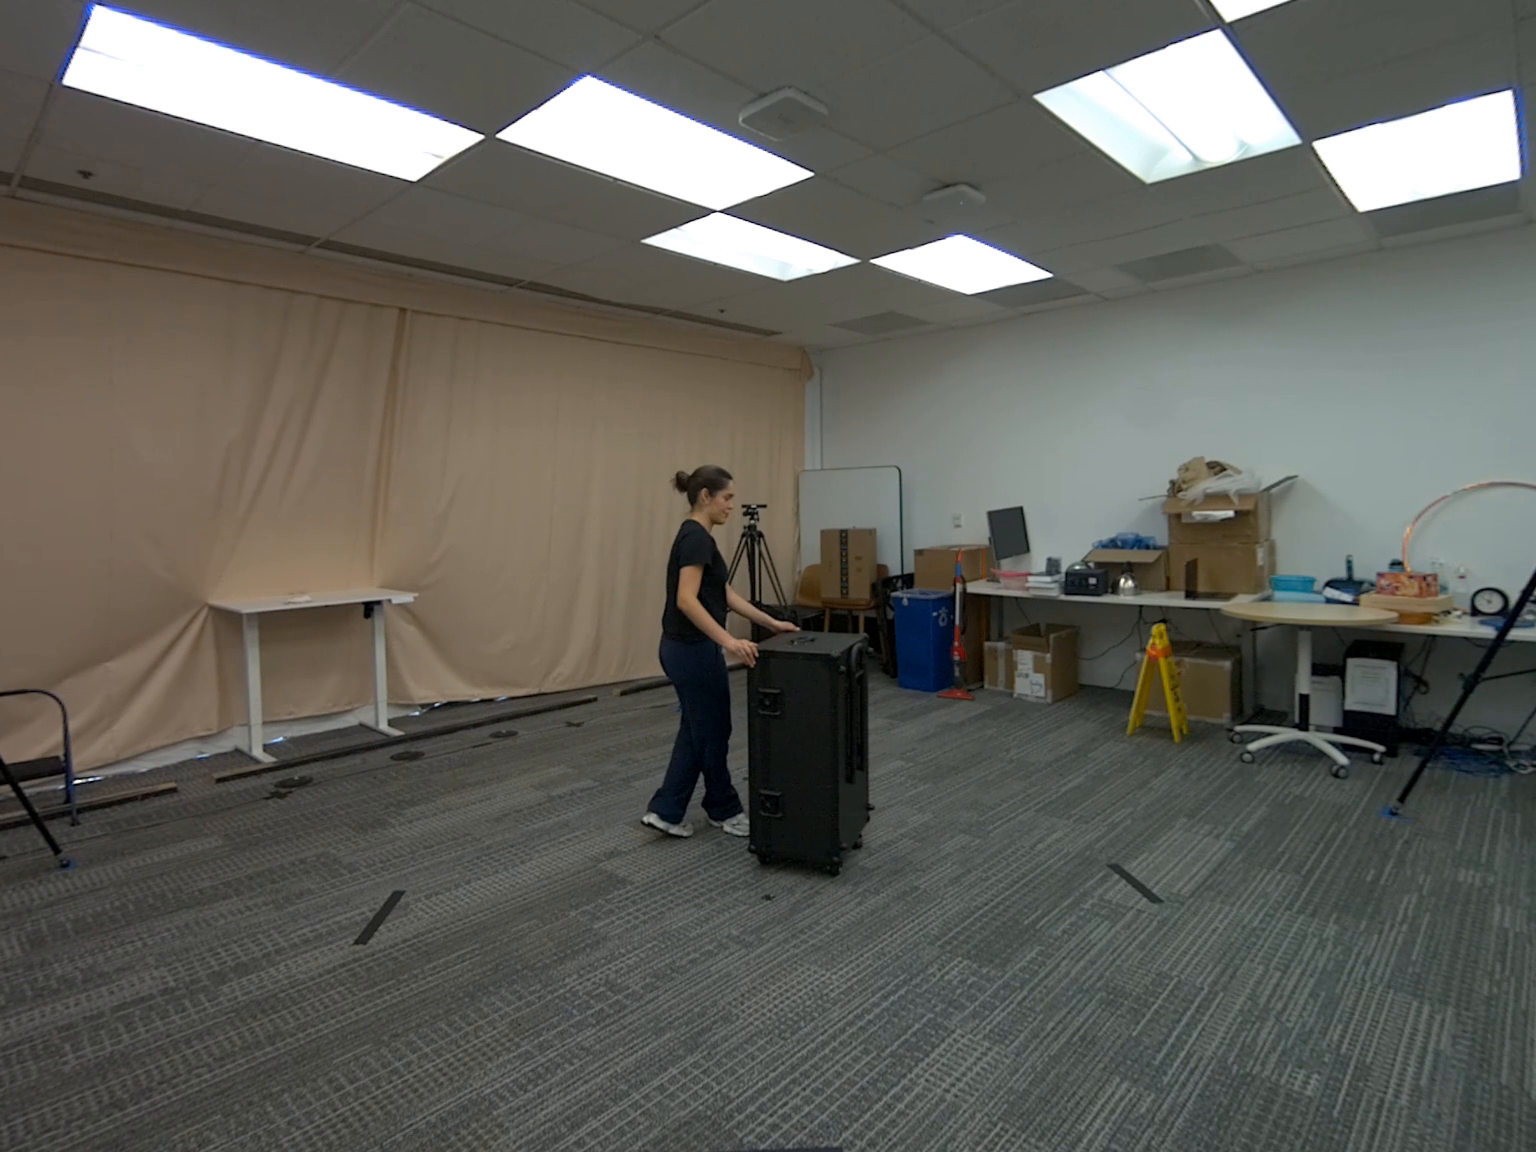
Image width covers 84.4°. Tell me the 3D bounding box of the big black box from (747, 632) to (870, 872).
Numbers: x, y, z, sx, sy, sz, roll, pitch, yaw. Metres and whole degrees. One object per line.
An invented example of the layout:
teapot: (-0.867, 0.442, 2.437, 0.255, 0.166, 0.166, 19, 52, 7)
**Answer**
big black box: (0.198, 0.681, 3.330, 0.406, 0.860, 0.510, 1, 4, 22)
